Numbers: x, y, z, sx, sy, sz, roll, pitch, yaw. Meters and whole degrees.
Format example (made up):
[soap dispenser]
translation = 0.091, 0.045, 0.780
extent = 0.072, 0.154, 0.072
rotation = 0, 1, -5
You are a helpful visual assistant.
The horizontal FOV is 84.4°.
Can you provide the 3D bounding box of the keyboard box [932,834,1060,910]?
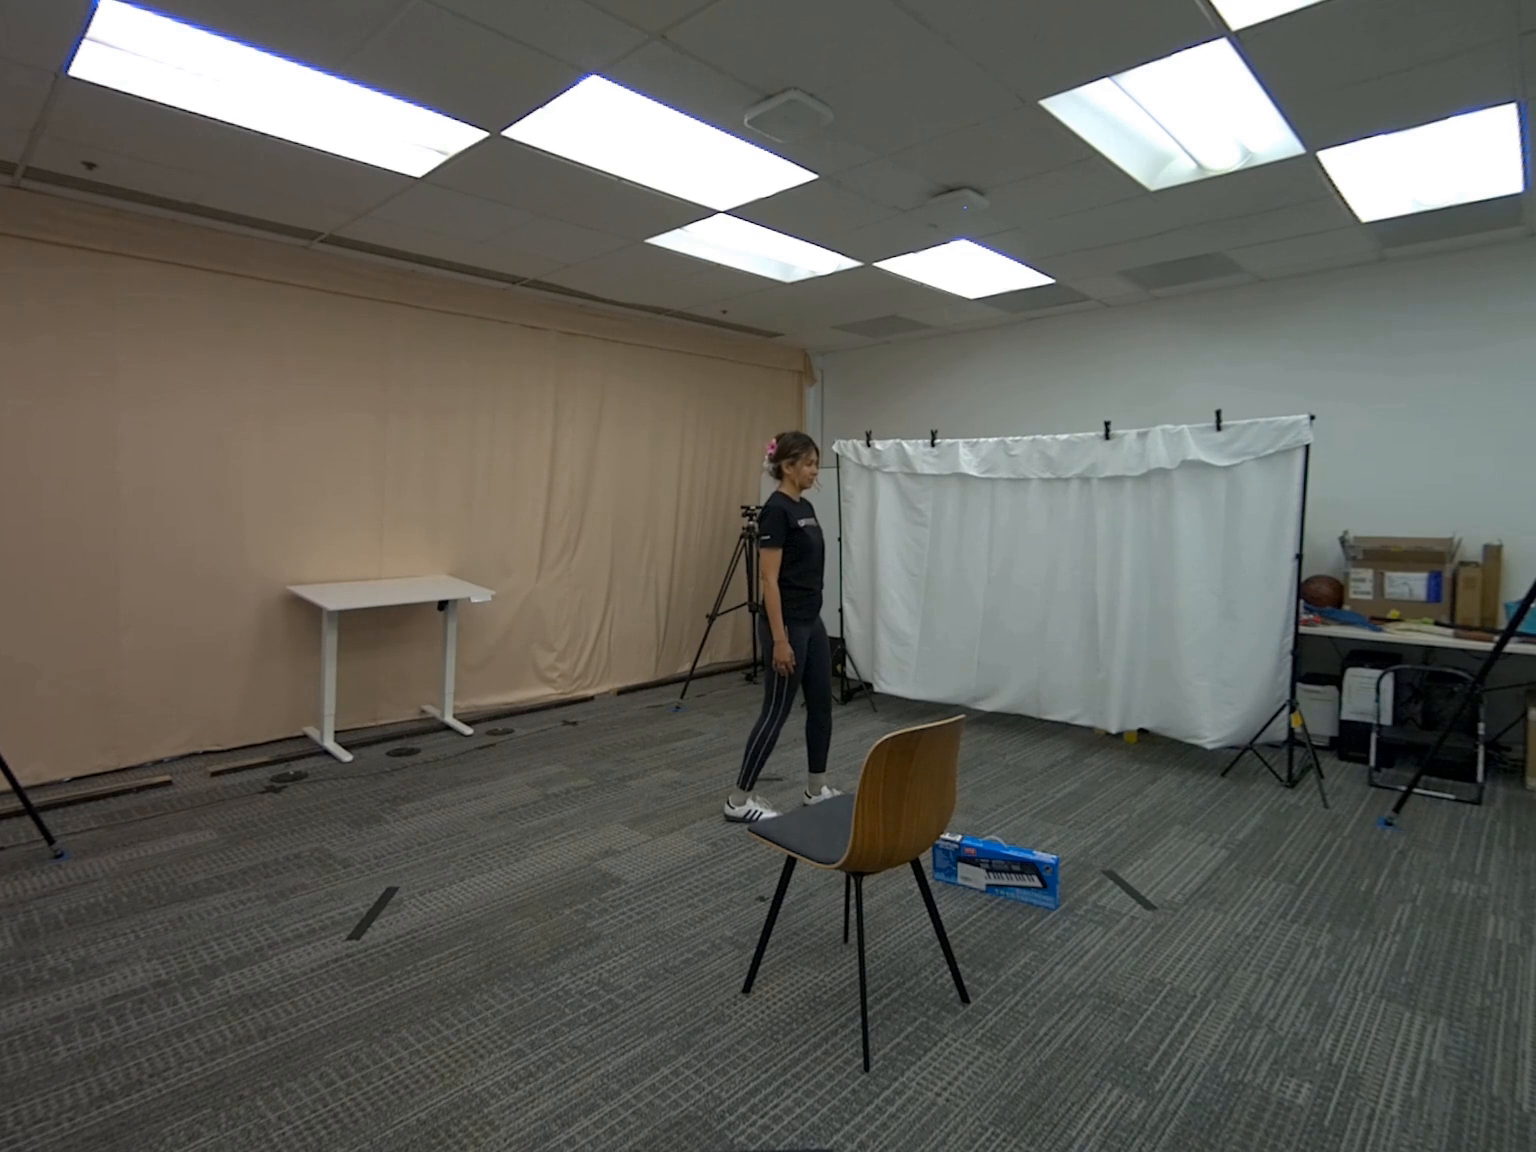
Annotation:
[keyboard box]
translation = 0.816, 1.052, 3.024
extent = 0.450, 0.175, 0.057
rotation = 3, 9, 33
